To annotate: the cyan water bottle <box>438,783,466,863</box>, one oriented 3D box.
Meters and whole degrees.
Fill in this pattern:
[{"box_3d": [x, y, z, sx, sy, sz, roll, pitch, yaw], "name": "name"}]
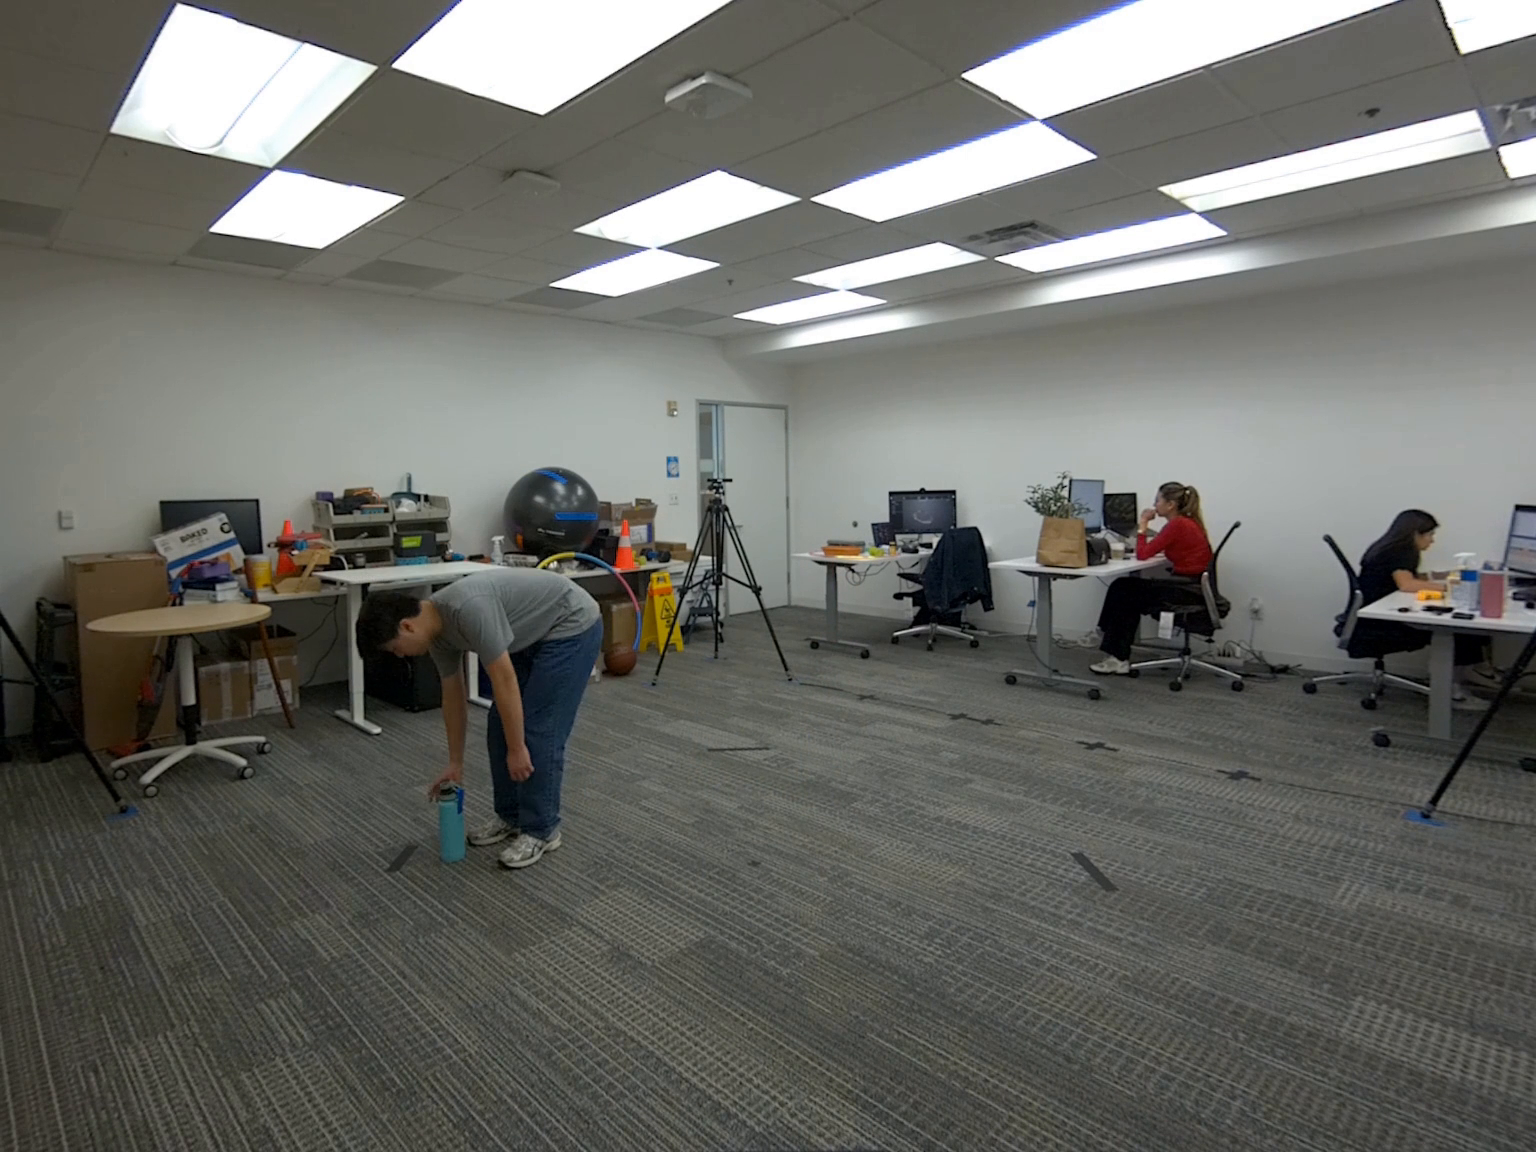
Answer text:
[{"box_3d": [-1.185, 0.922, 3.199, 0.092, 0.282, 0.093, -1, 4, -2], "name": "cyan water bottle"}]
